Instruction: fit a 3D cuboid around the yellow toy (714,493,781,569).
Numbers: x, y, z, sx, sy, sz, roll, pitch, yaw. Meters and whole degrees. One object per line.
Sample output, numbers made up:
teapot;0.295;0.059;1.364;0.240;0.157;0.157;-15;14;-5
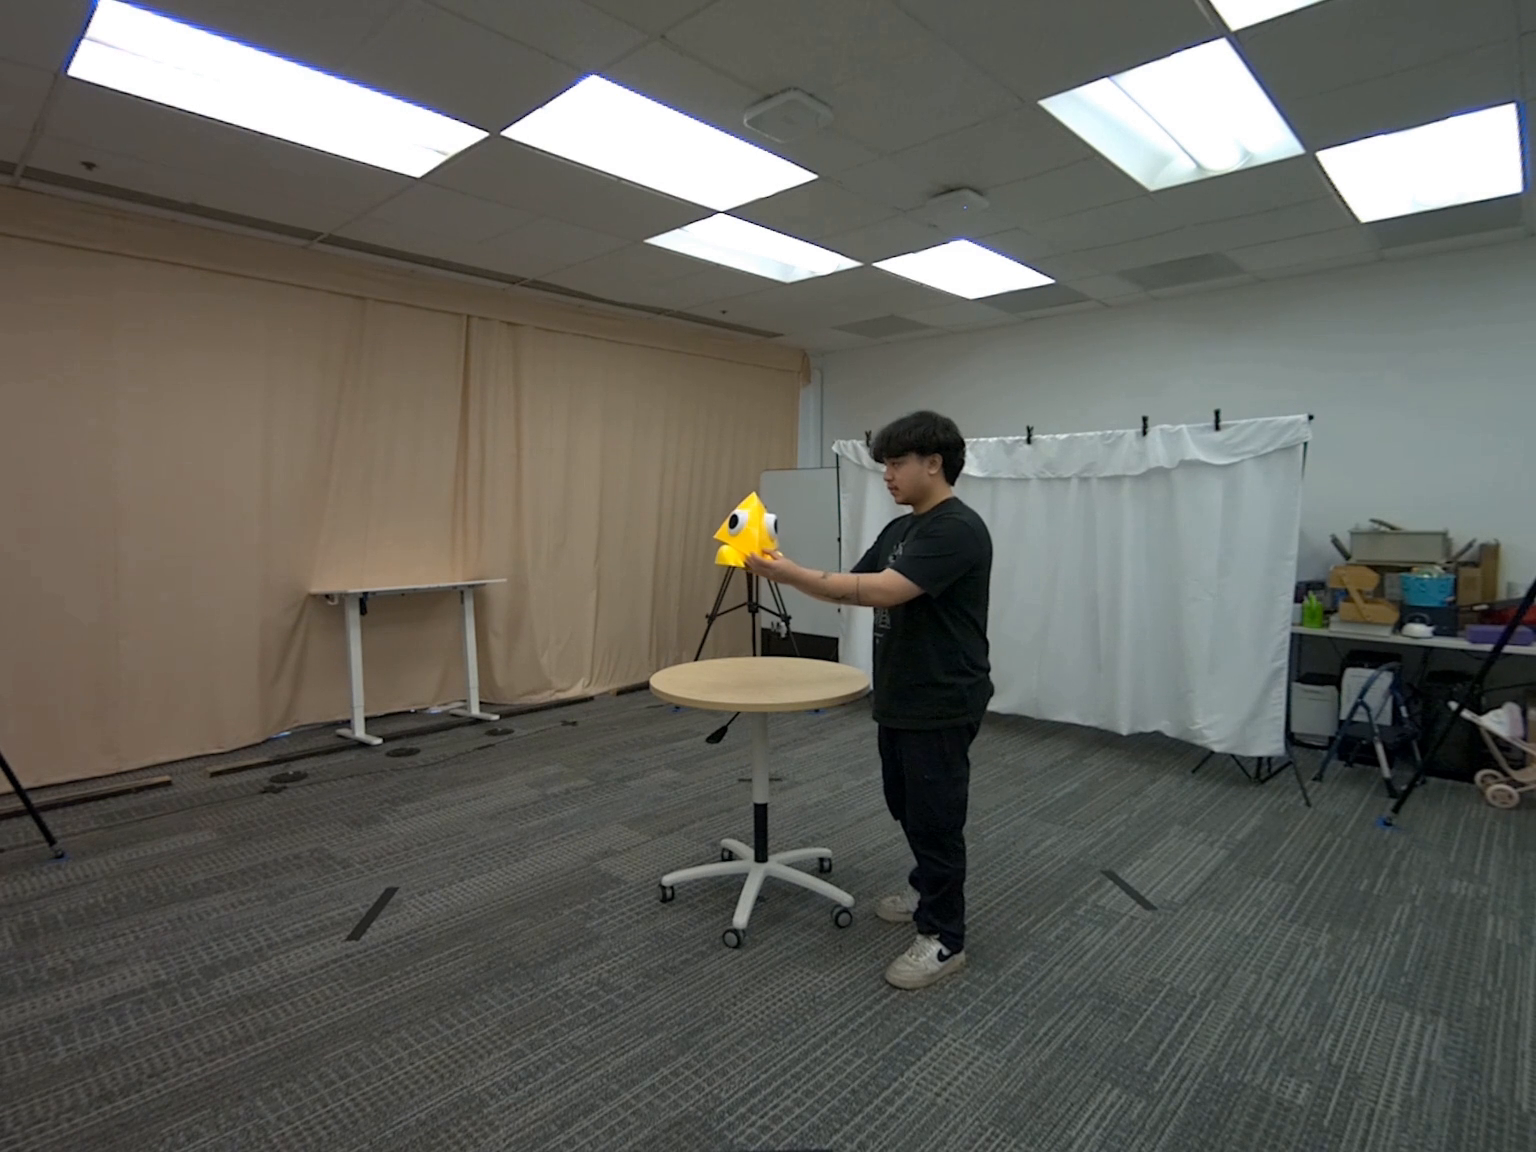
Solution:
yellow toy;-0.030;-0.136;2.494;0.202;0.231;0.195;7;0;-11
